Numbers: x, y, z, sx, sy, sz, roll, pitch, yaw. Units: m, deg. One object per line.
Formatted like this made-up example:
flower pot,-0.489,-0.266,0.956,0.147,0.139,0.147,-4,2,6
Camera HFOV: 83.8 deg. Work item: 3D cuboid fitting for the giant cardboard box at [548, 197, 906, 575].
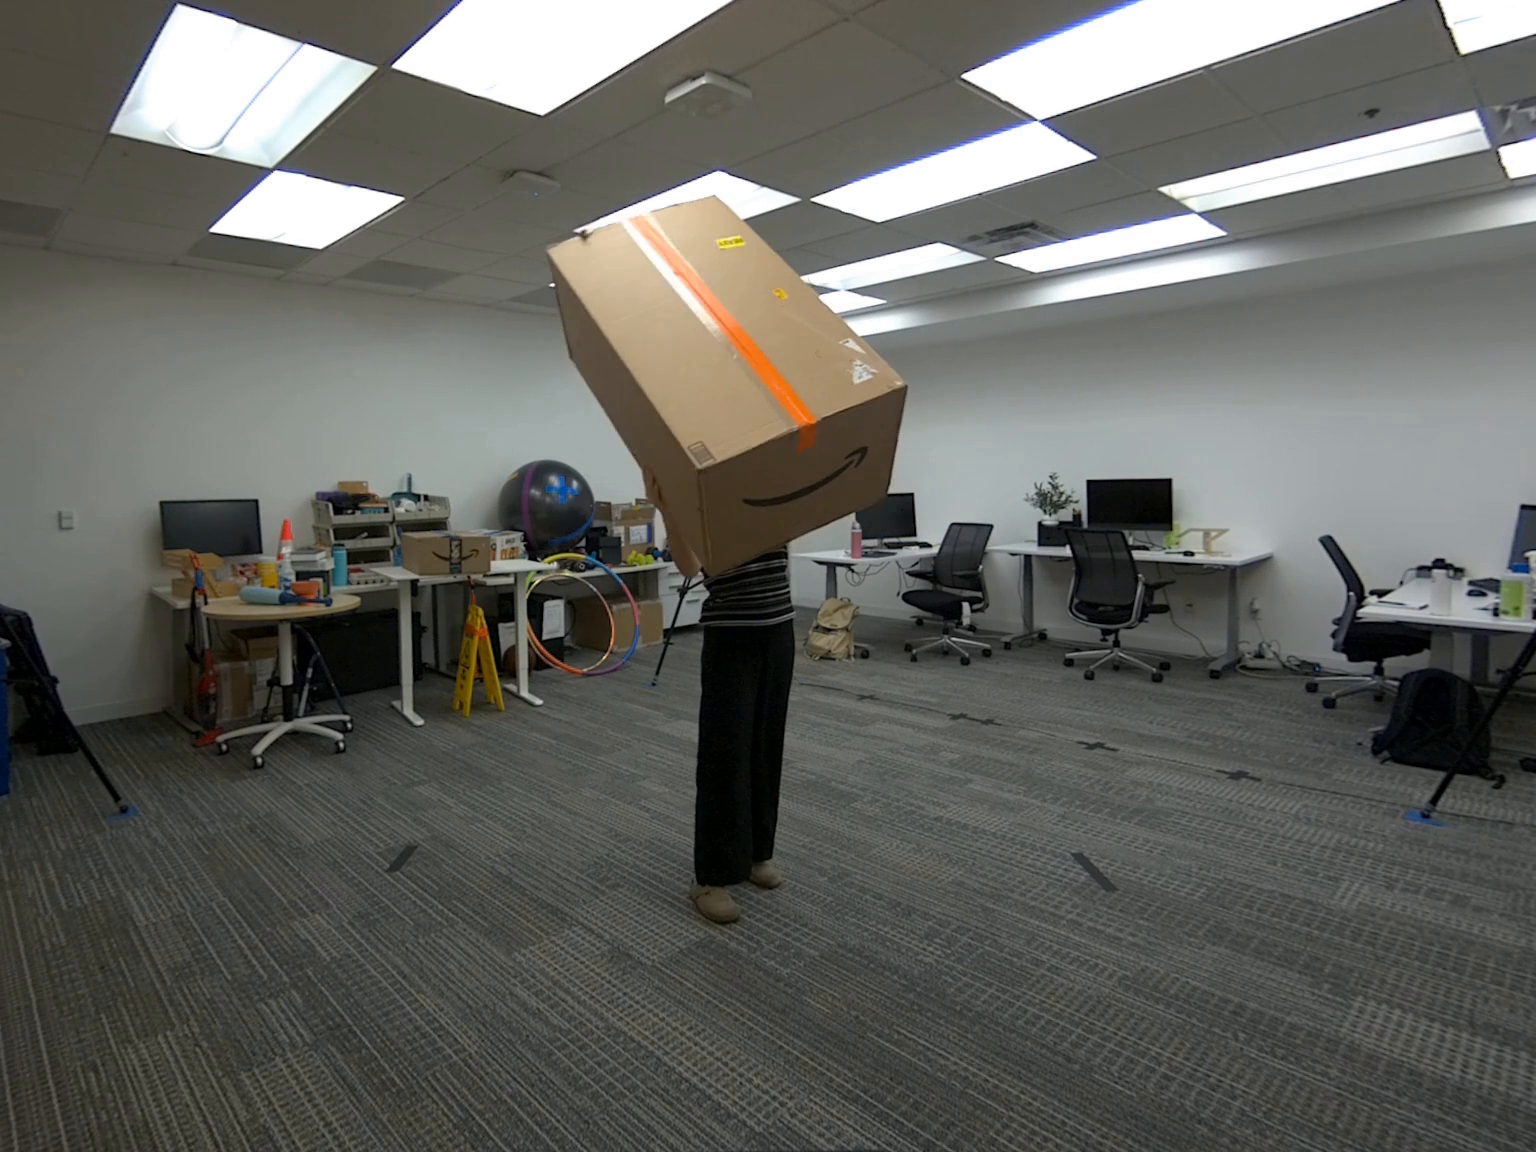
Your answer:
giant cardboard box,-0.149,-0.589,2.465,0.572,1.063,0.415,-24,-34,-17
